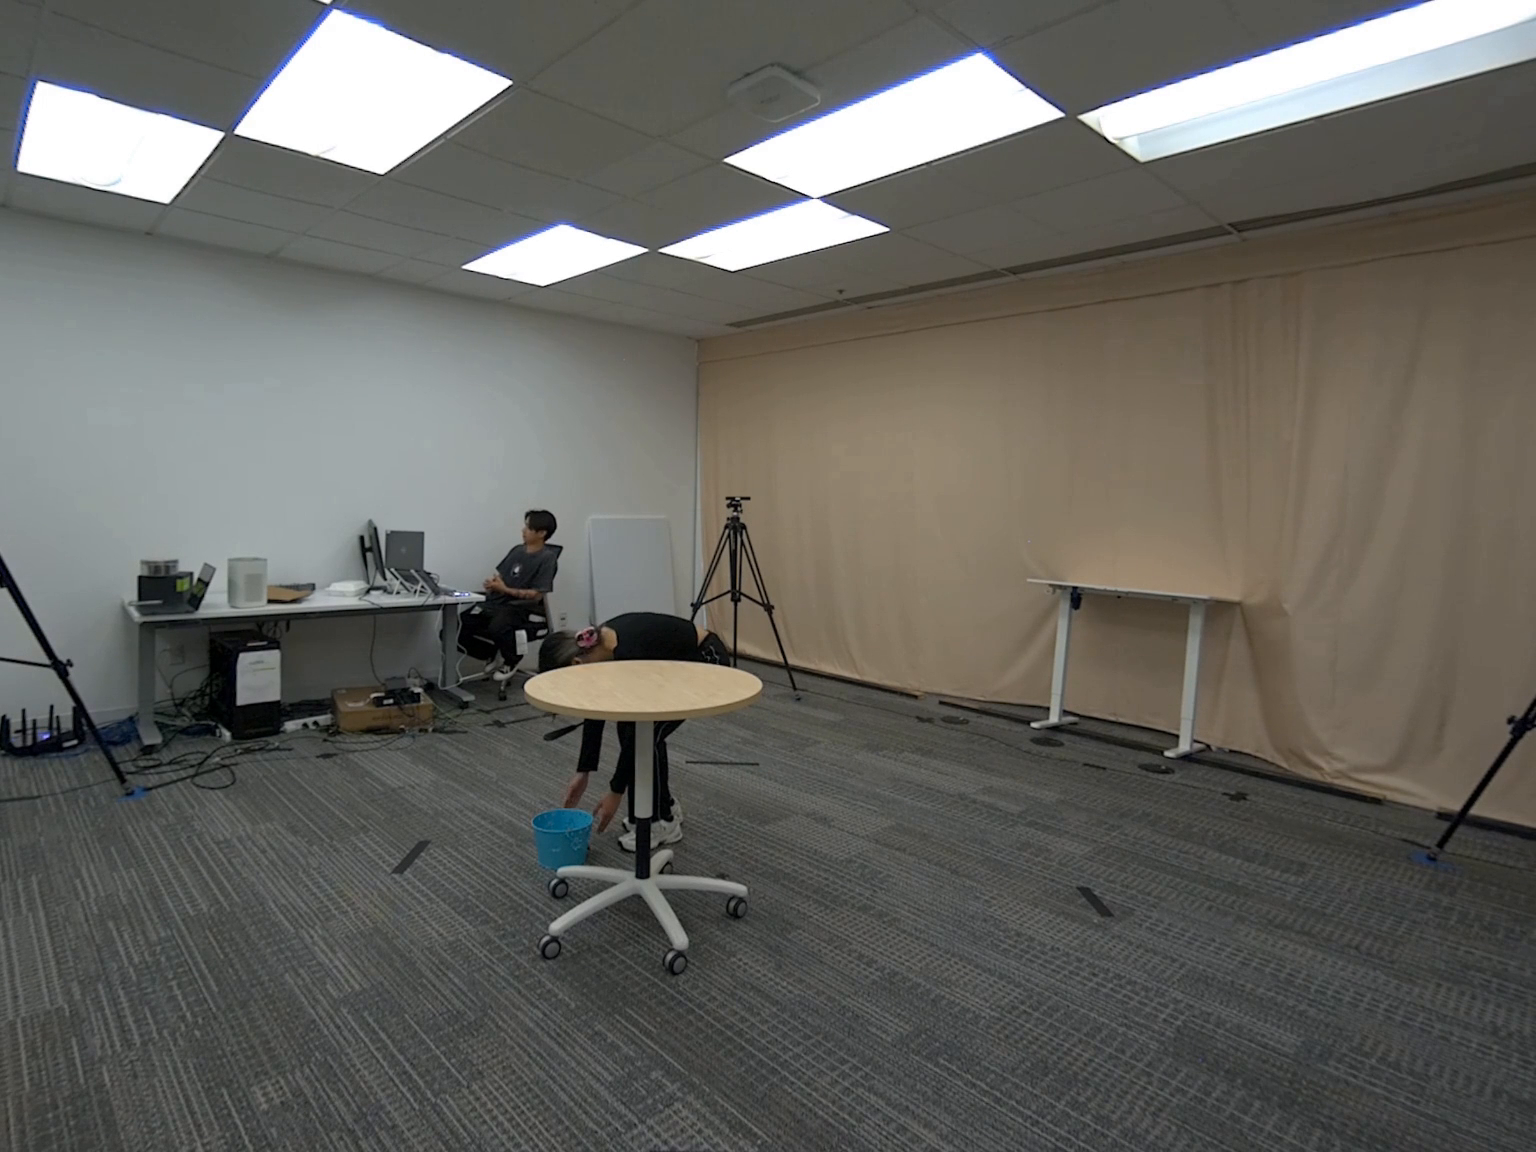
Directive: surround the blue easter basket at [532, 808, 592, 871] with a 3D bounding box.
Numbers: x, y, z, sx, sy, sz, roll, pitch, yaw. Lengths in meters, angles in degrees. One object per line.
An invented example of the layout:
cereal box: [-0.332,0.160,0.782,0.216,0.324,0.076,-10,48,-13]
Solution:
blue easter basket: [-0.782,1.004,3.209,0.243,0.155,0.244,1,4,-1]
